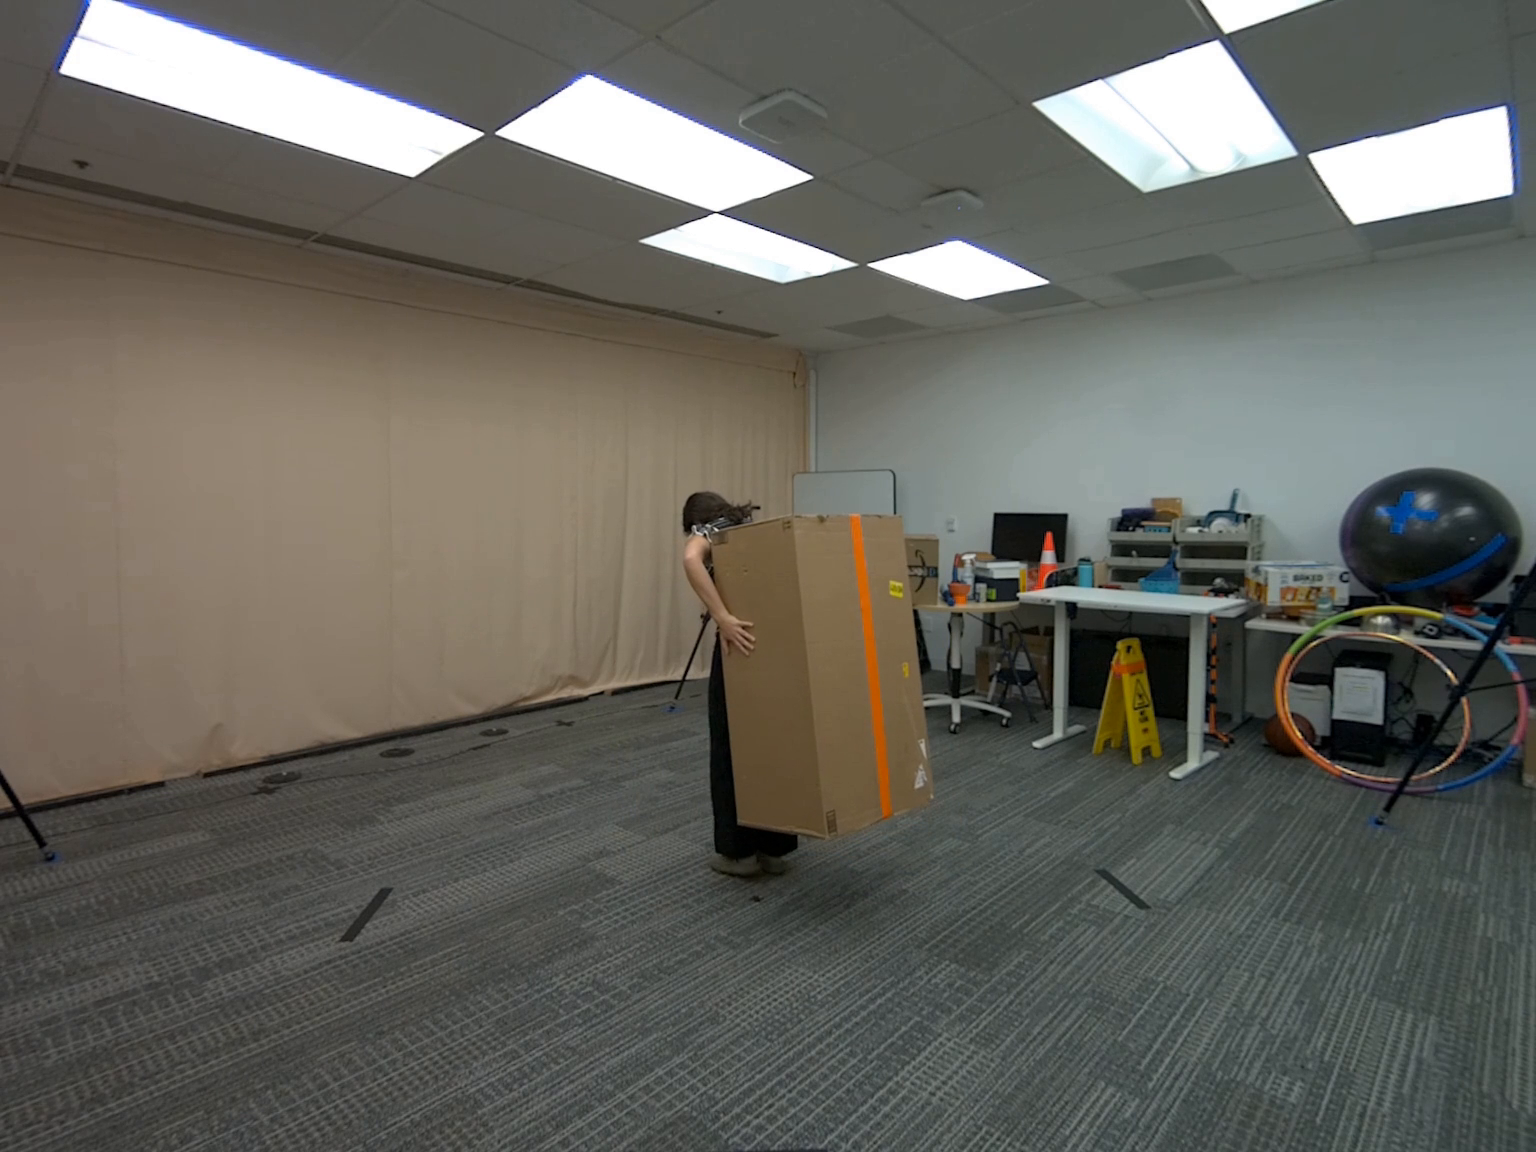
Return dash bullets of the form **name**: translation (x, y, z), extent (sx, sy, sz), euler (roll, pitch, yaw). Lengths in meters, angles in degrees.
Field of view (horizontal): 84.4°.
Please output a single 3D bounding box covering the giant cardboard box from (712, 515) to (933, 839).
- **giant cardboard box**: translation (0.200, 0.326, 2.977), extent (0.559, 1.029, 0.438), euler (-2, -6, -43)
